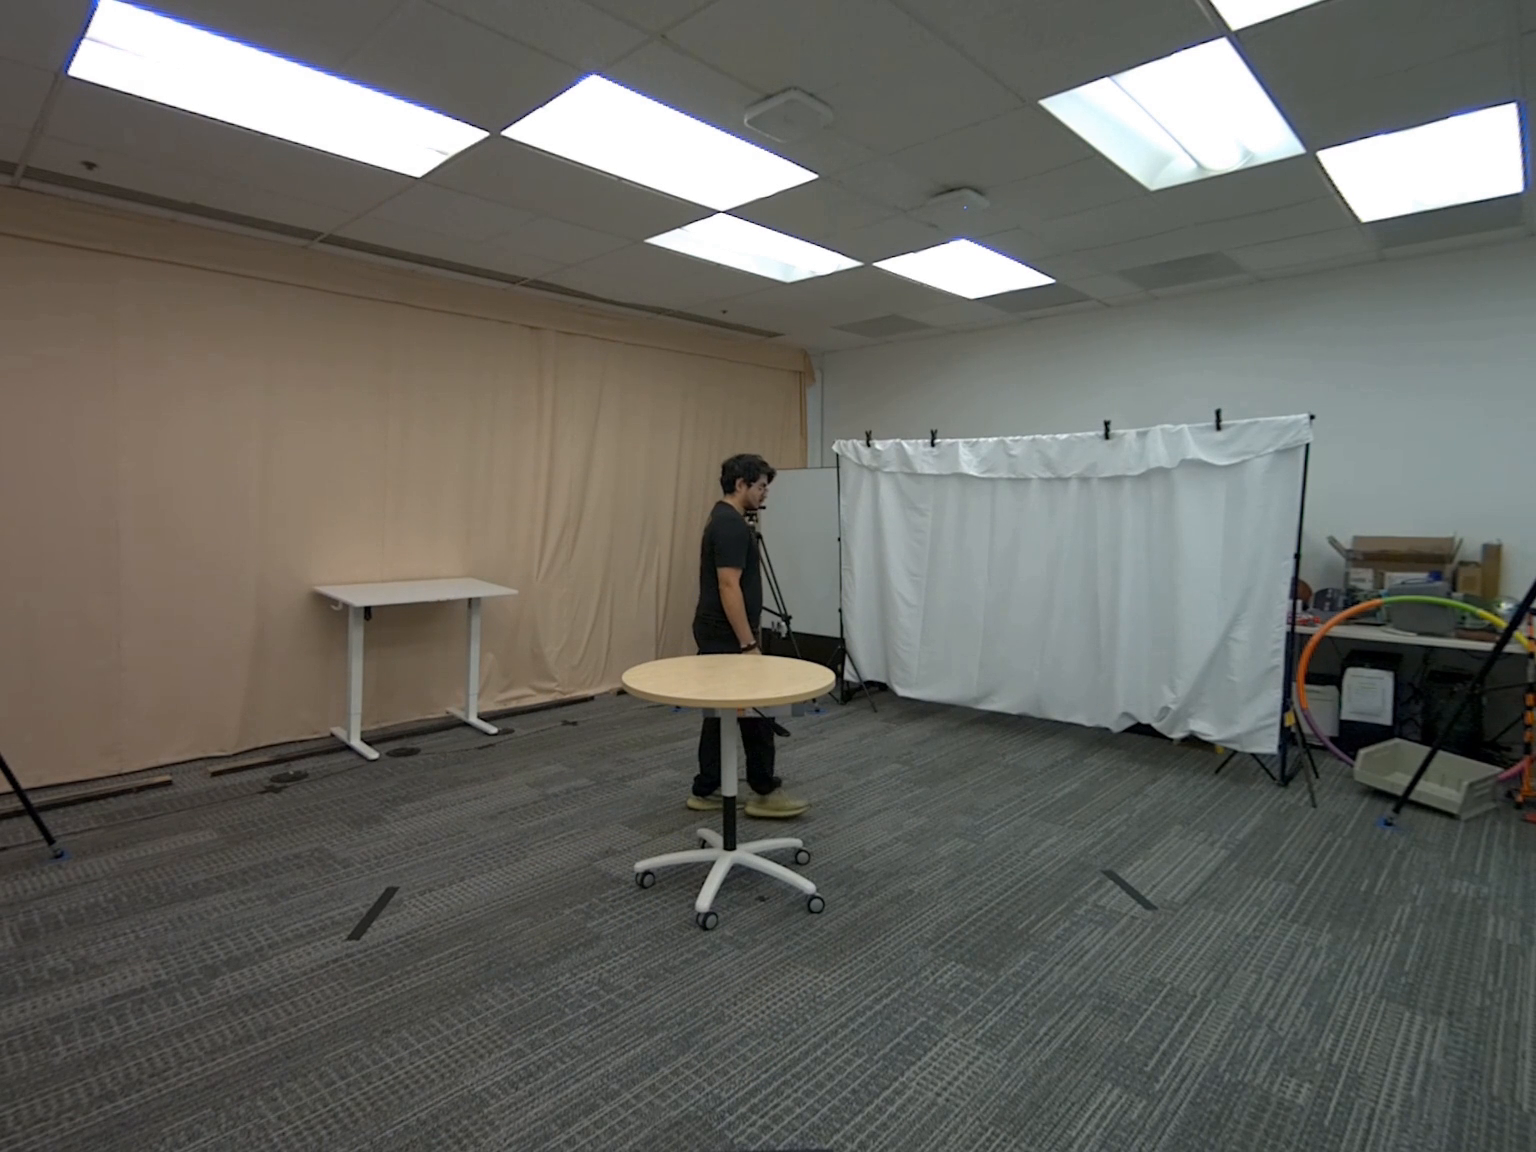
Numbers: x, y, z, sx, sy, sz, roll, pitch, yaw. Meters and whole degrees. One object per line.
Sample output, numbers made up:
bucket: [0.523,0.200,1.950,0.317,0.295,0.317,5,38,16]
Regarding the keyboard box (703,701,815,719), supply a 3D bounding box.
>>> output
keyboard box: [-0.059,0.504,3.591,0.440,0.175,0.059,0,3,7]
